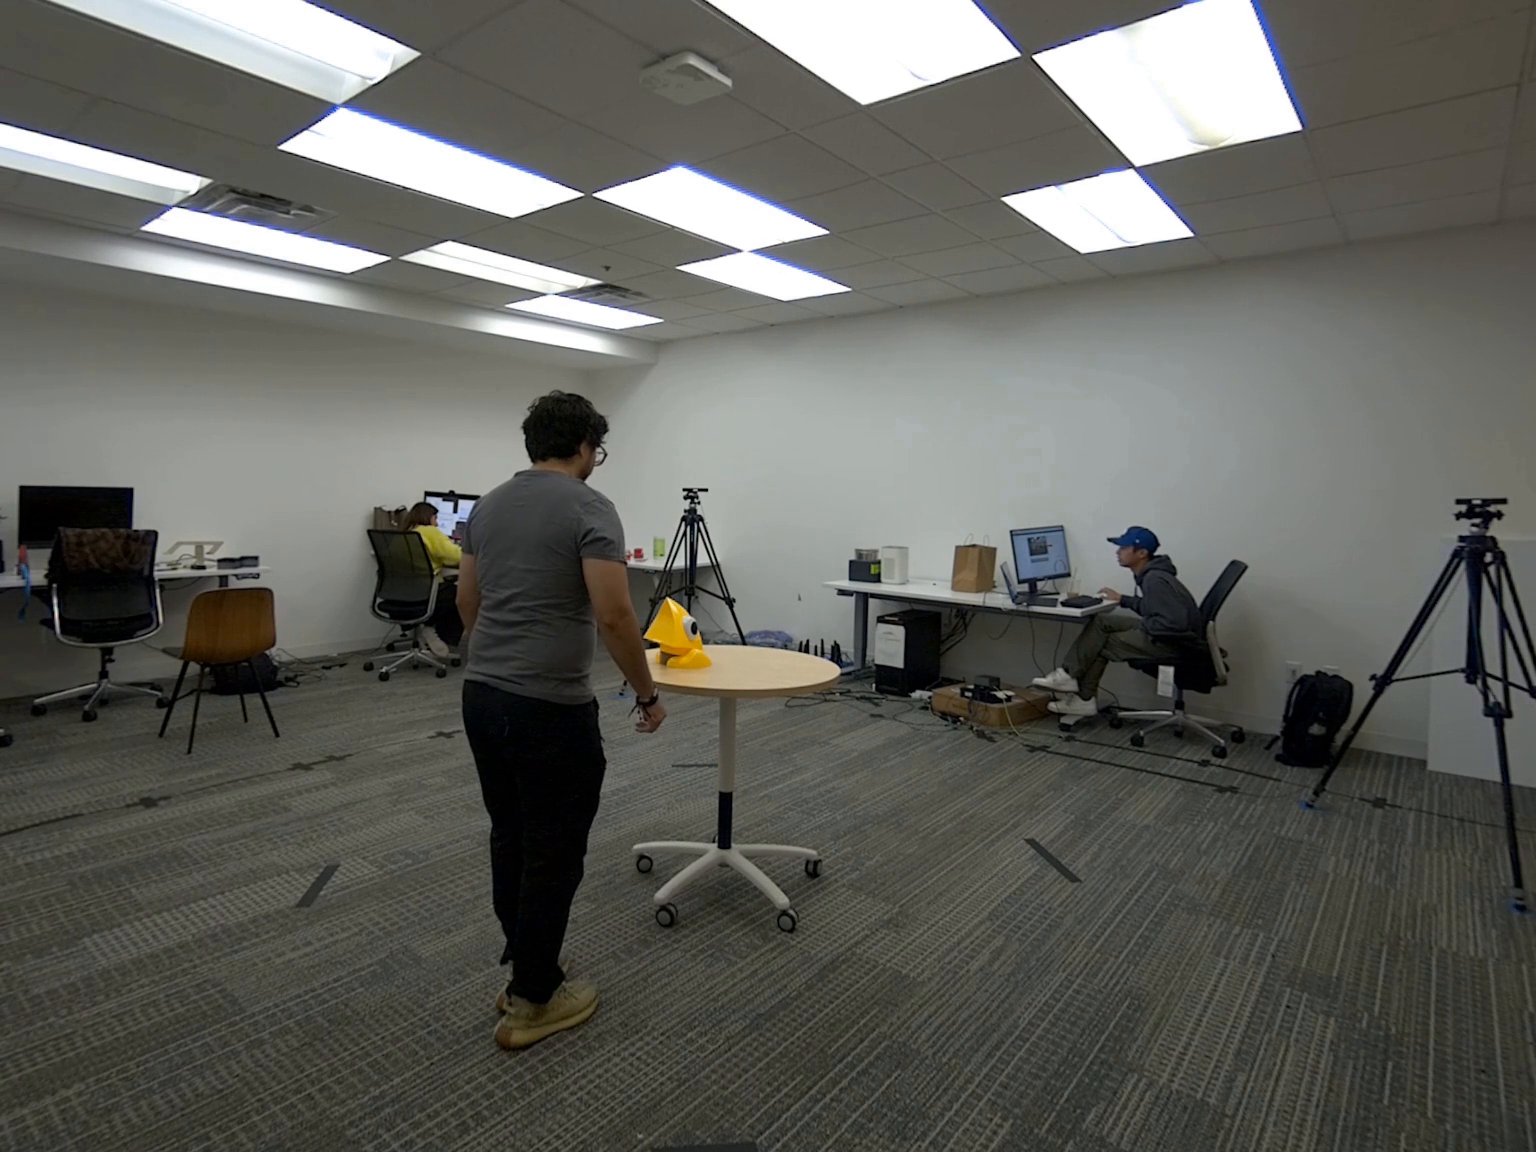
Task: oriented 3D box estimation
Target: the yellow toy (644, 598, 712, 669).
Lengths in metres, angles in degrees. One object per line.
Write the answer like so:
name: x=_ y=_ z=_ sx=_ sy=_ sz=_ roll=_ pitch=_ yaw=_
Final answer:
yellow toy: x=-0.312 y=0.184 z=2.946 sx=0.187 sy=0.230 sz=0.211 roll=-1 pitch=4 yaw=-36
